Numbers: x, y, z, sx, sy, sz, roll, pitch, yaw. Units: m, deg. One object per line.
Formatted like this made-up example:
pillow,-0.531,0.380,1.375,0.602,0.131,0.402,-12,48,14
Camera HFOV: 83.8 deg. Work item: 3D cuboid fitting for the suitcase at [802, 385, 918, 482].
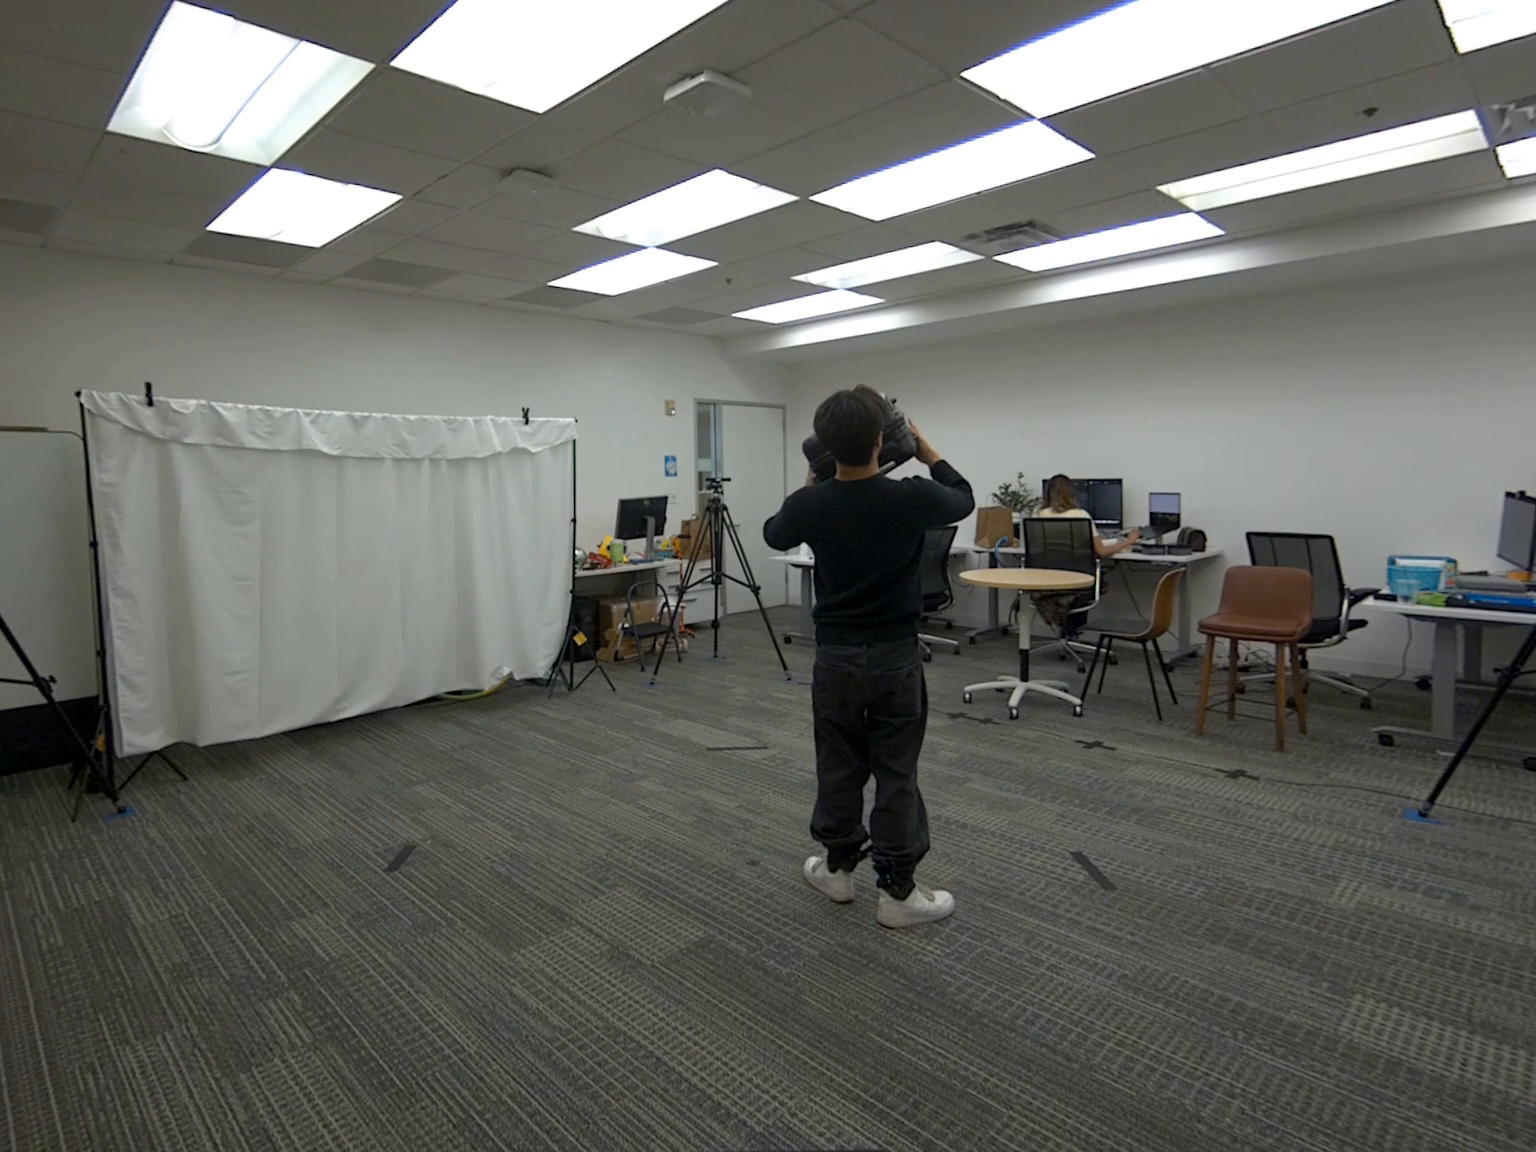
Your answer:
suitcase,0.344,-0.469,3.072,0.377,0.248,0.548,-32,4,12
